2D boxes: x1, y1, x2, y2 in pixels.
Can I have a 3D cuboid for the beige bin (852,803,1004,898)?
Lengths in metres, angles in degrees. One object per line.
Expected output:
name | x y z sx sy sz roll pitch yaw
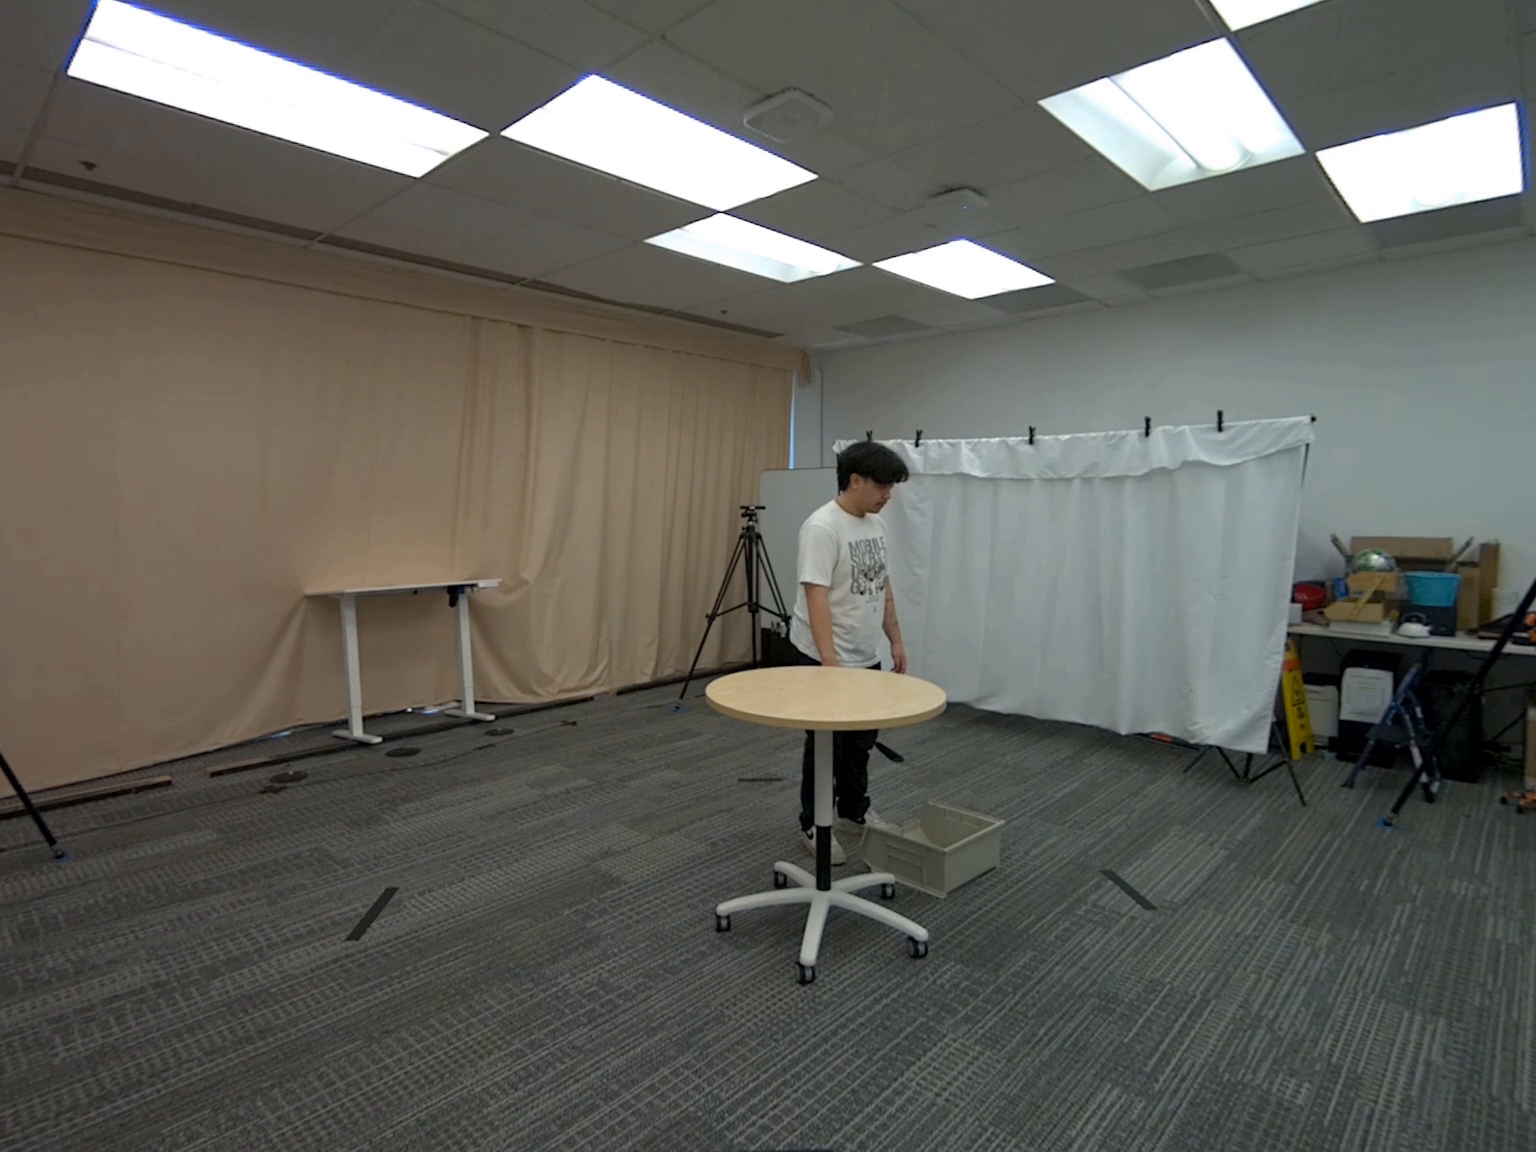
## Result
beige bin | 0.636 1.033 3.237 0.390 0.188 0.409 6 7 45
